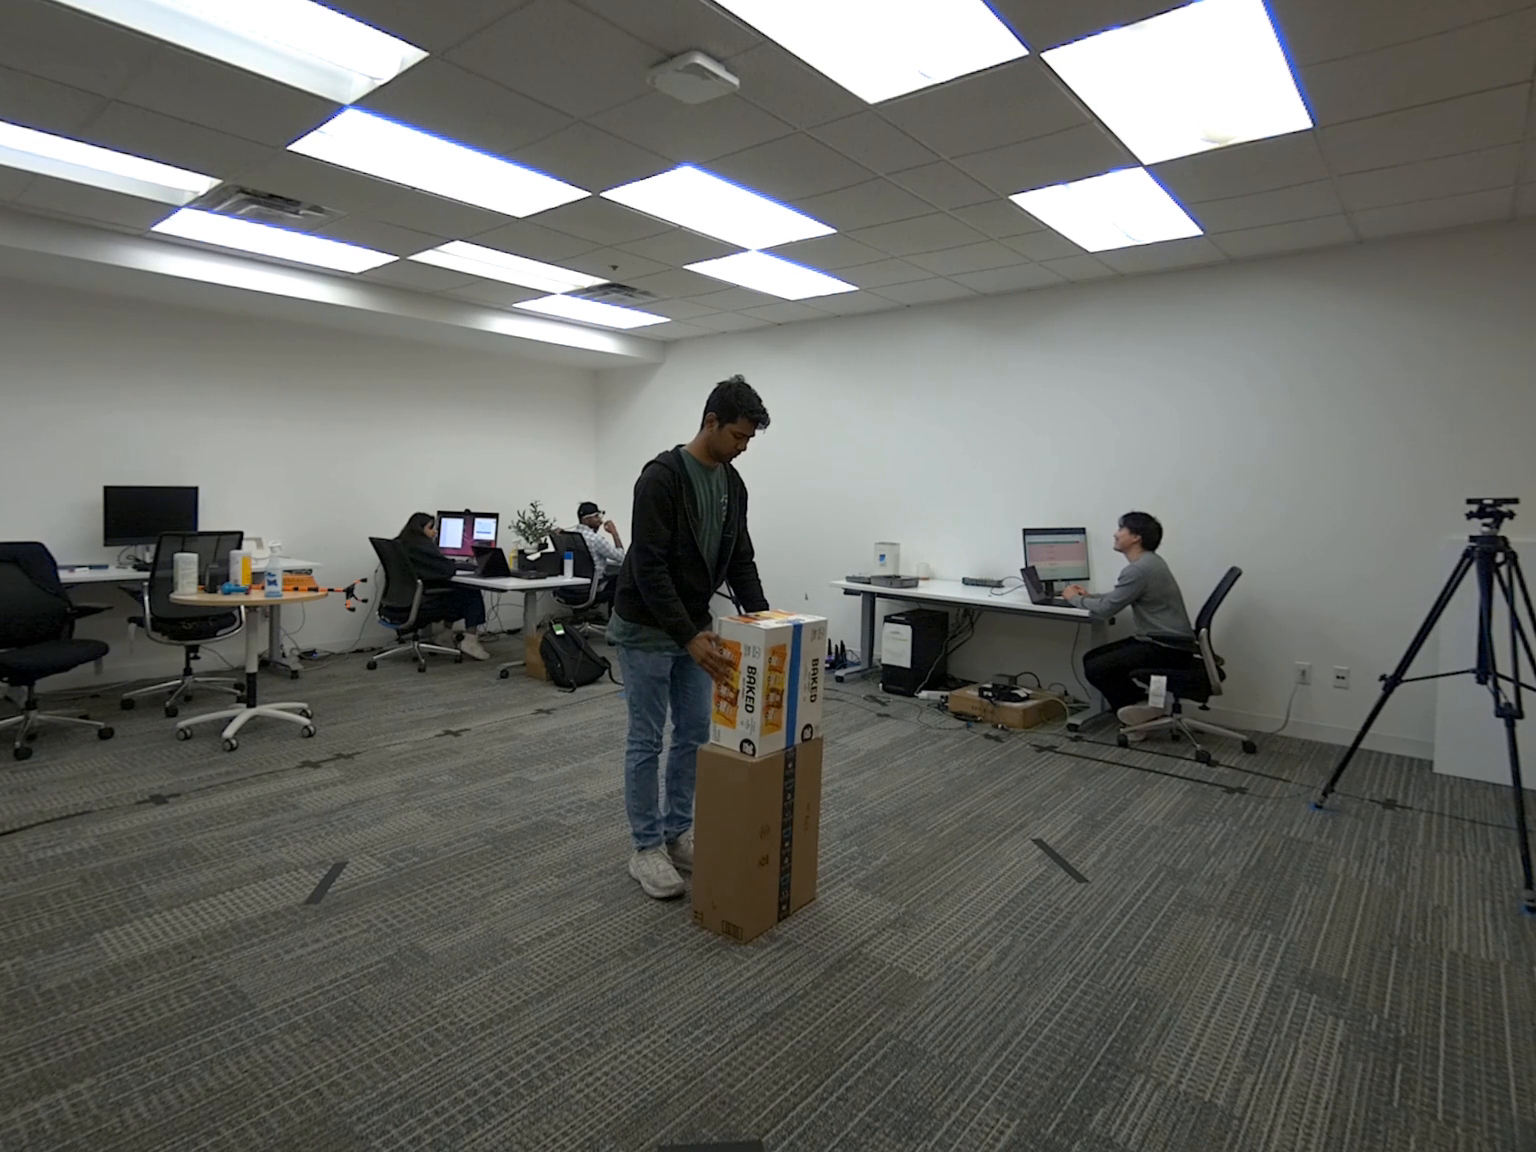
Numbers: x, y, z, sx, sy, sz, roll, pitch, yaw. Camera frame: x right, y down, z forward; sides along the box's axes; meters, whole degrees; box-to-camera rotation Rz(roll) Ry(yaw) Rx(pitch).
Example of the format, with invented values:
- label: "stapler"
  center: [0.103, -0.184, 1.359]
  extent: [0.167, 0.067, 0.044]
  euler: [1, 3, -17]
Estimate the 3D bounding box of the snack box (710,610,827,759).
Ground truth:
- label: "snack box"
  center: [-0.002, 0.331, 2.779]
  extent: [0.213, 0.403, 0.330]
  euler: [8, 7, 39]
